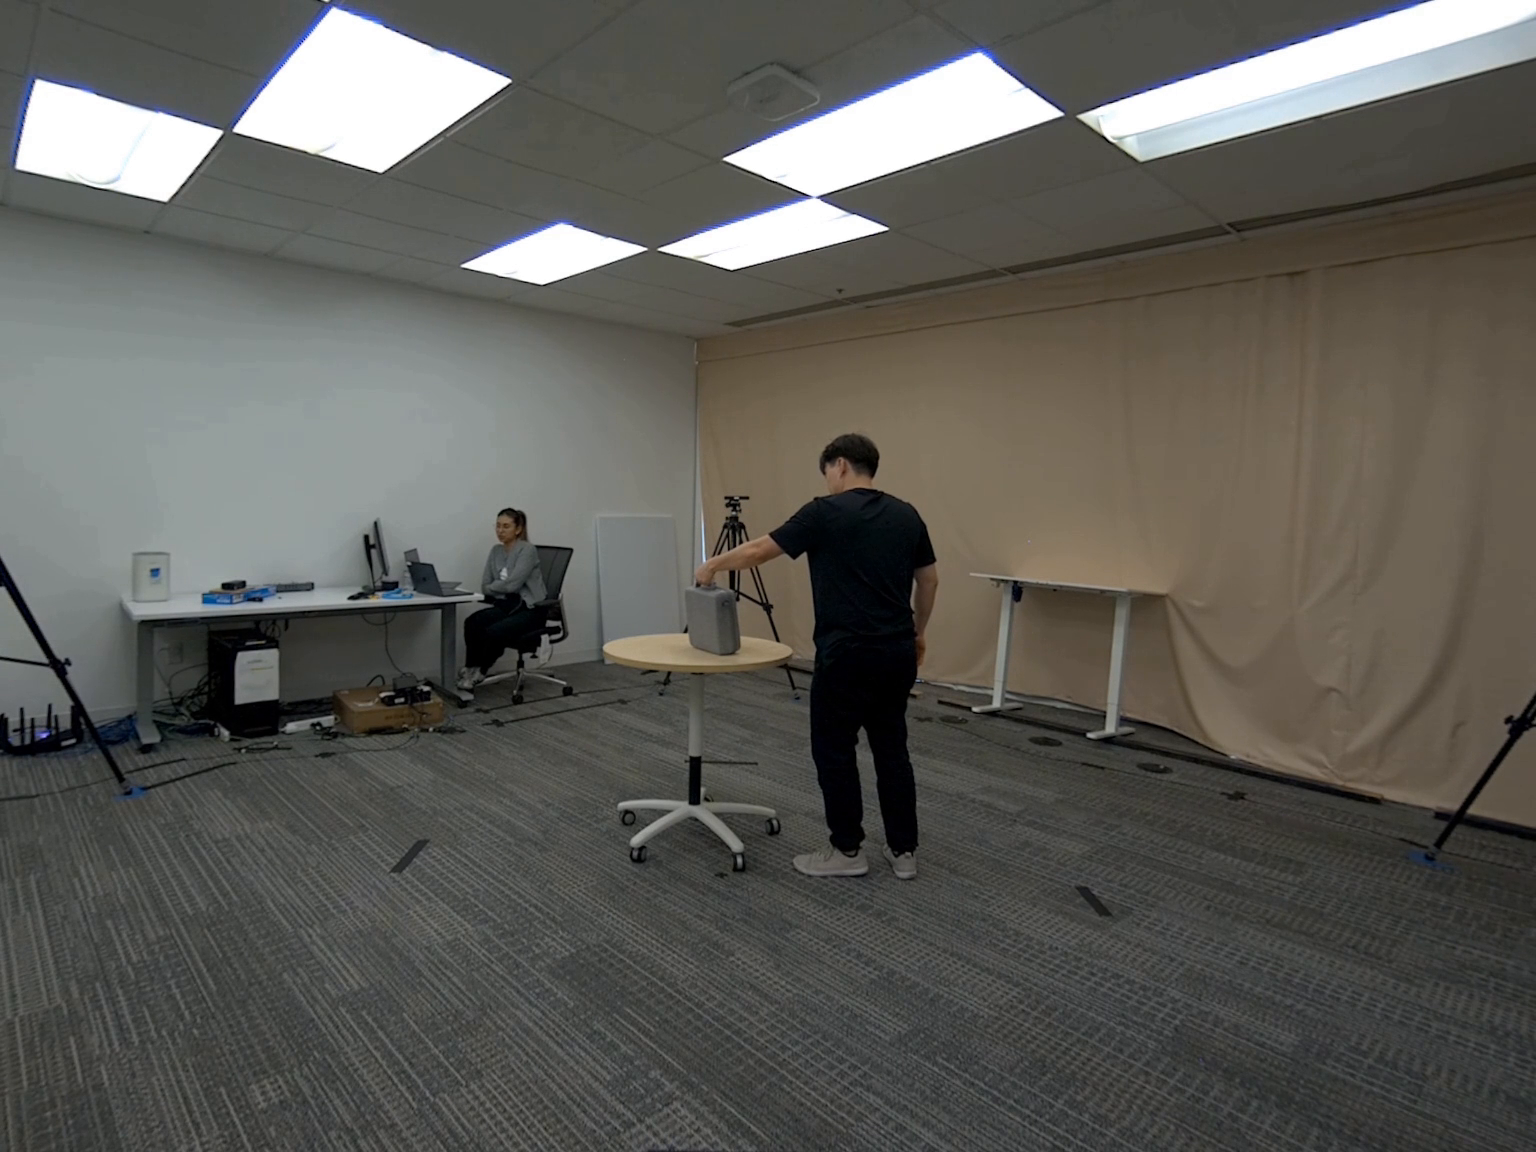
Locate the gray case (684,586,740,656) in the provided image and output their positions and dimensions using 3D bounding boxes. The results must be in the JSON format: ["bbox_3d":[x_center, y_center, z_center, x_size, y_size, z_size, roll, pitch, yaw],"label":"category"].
[{"bbox_3d":[-0.221,0.165,3.338,0.102,0.259,0.263,-10,9,-32],"label":"gray case"}]
